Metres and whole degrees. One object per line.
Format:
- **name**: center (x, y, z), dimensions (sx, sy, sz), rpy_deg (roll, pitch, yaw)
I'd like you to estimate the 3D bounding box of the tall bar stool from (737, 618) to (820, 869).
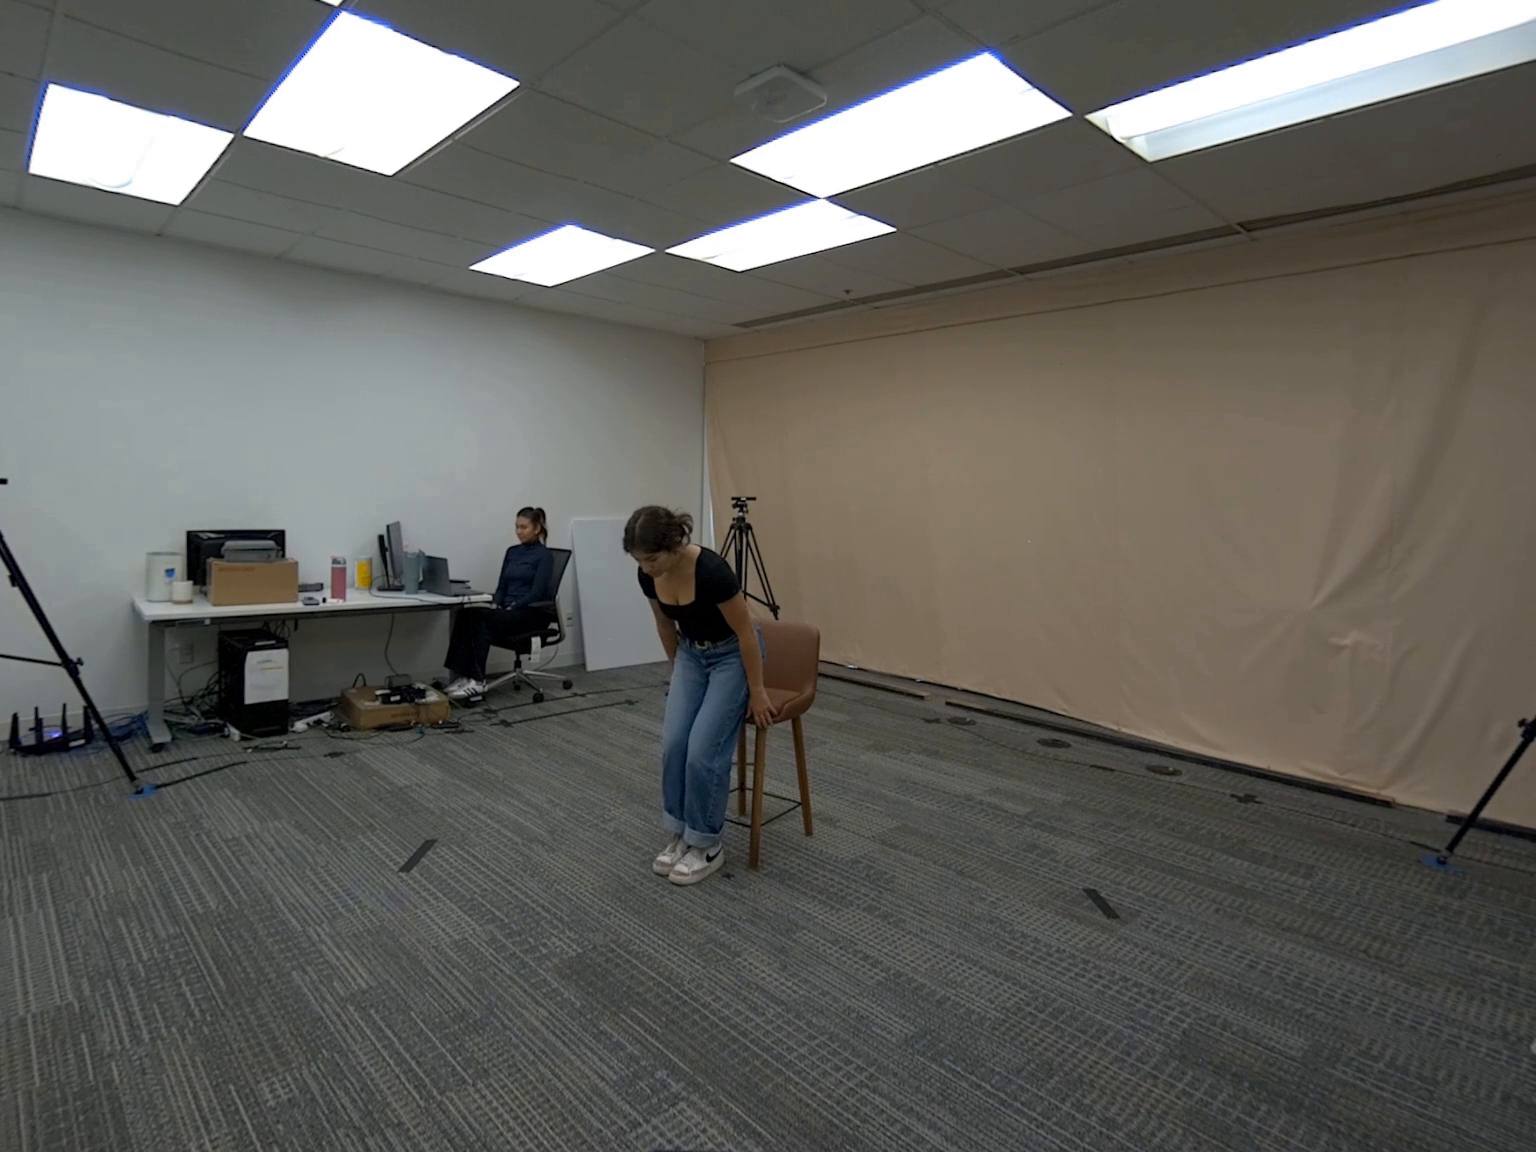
- **tall bar stool**: center (-0.078, 0.648, 3.430), dimensions (0.467, 0.889, 0.457), rpy_deg (4, 2, 36)
